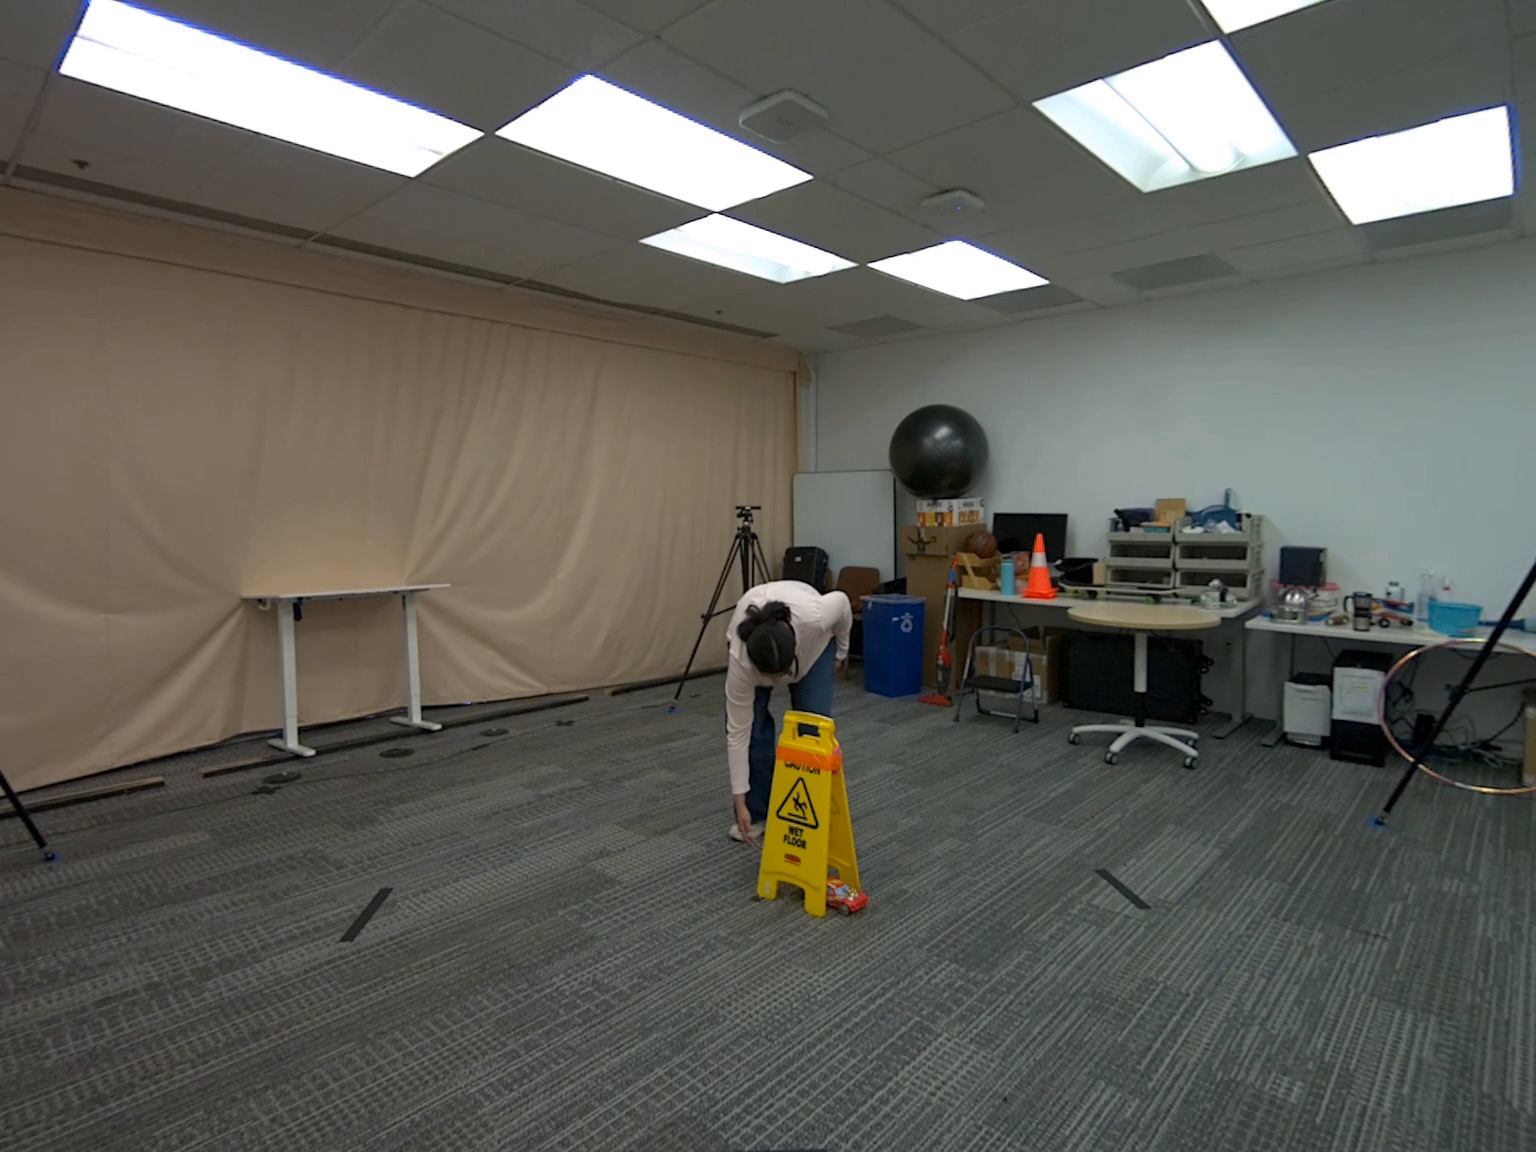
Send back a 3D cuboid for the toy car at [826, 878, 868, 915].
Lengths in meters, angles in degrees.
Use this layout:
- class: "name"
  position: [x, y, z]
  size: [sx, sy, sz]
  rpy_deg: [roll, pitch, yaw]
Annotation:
- class: "toy car"
  position: [0.220, 1.111, 2.959]
  size: [0.264, 0.083, 0.126]
  rpy_deg: [16, 15, 42]
